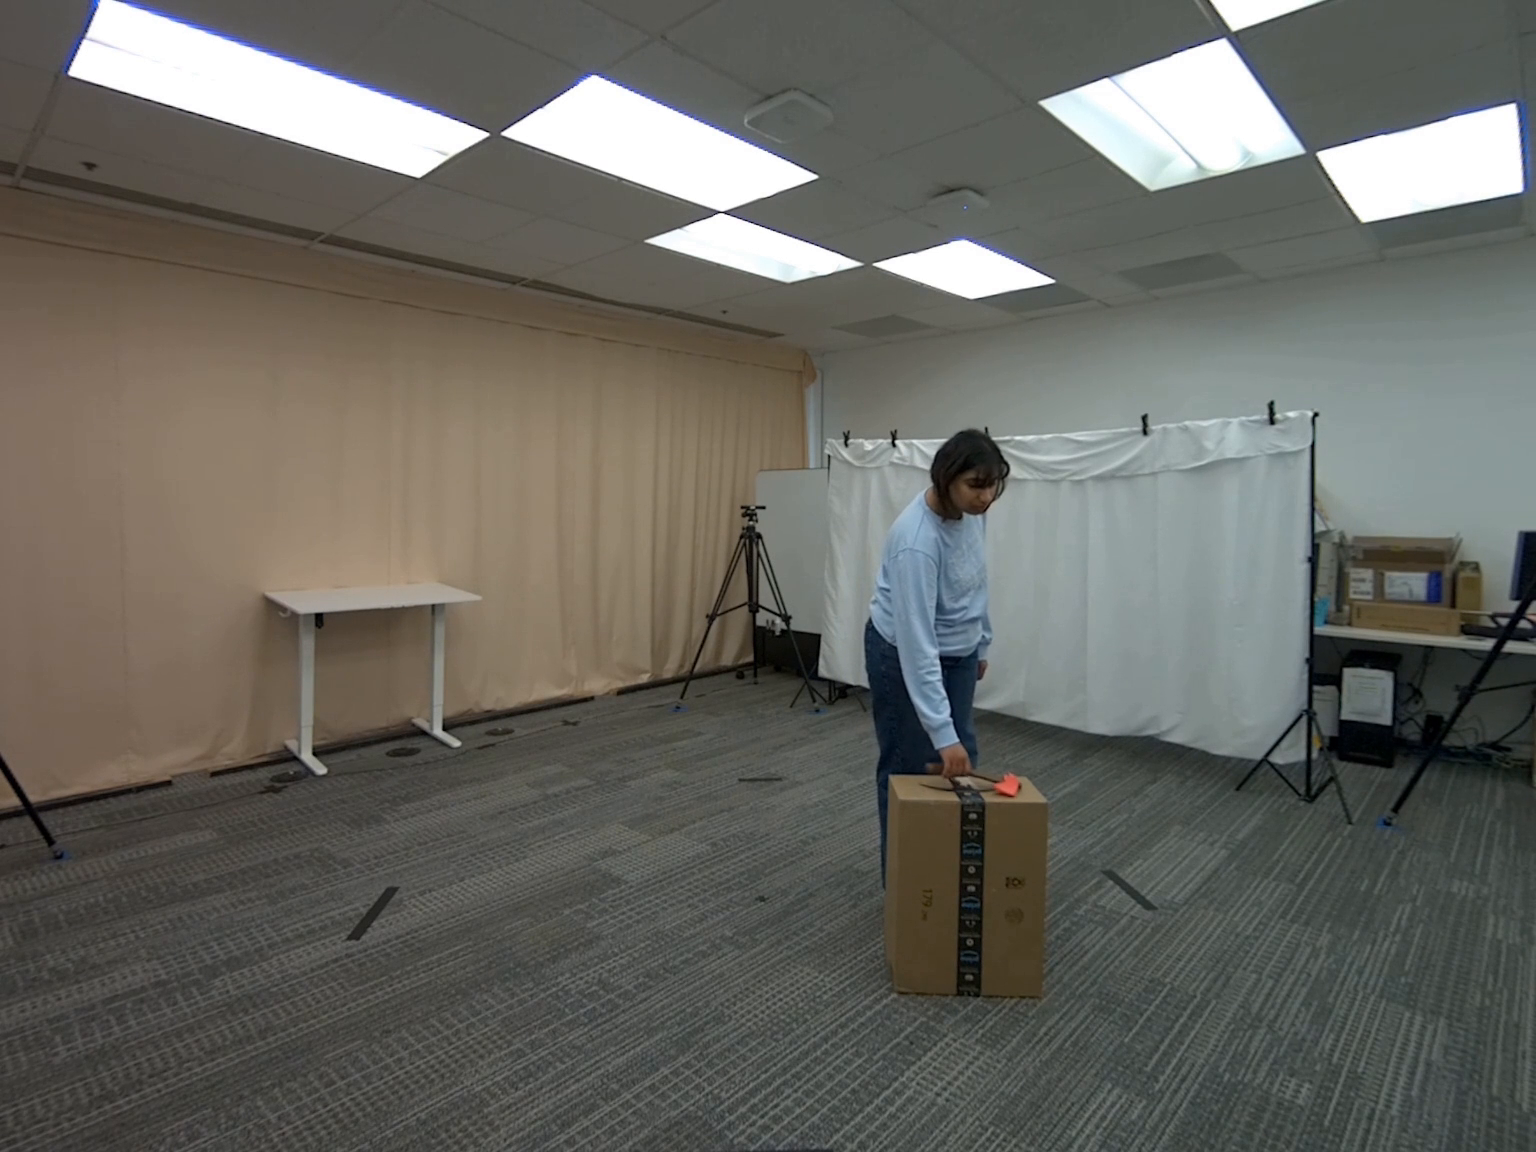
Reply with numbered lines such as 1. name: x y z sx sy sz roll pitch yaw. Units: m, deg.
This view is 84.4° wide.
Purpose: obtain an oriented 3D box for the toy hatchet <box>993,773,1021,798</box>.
1. toy hatchet: 0.600 0.596 2.437 0.266 0.029 0.134 3 13 -14
